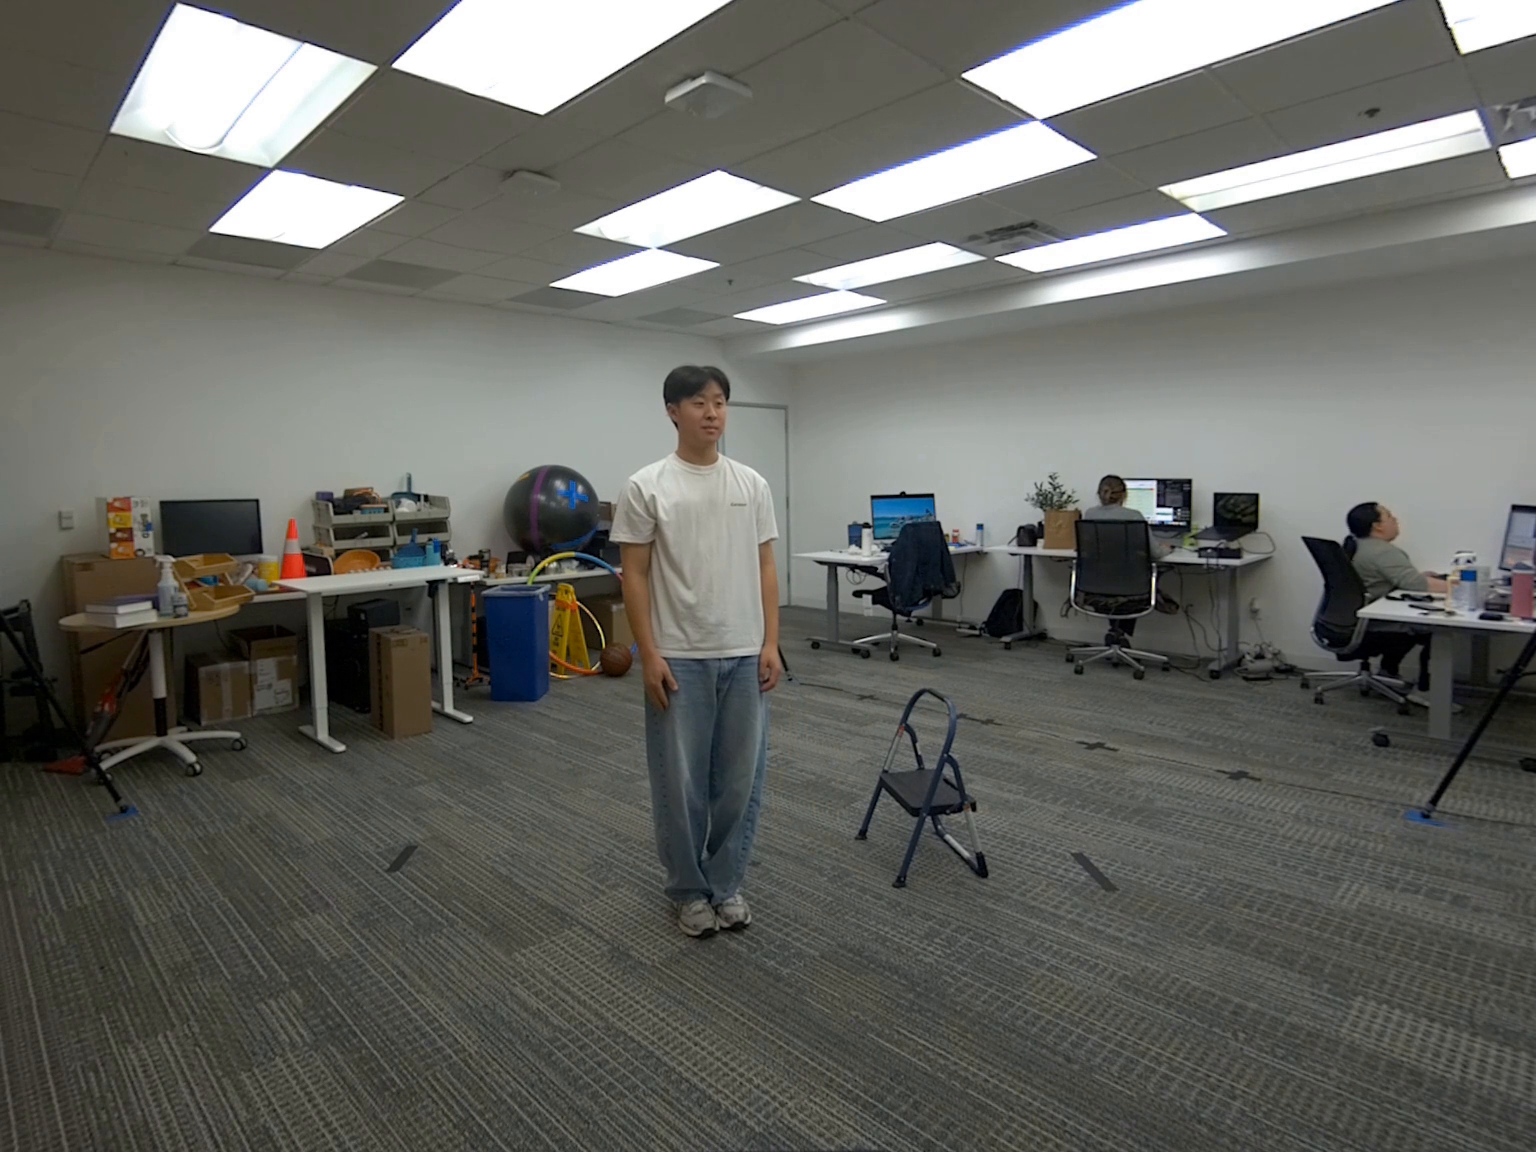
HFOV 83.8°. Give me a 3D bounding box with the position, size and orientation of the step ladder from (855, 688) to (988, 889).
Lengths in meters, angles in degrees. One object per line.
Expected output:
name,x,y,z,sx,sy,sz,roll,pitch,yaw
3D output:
step ladder,0.554,0.734,3.115,0.346,0.604,0.437,-2,5,-12
